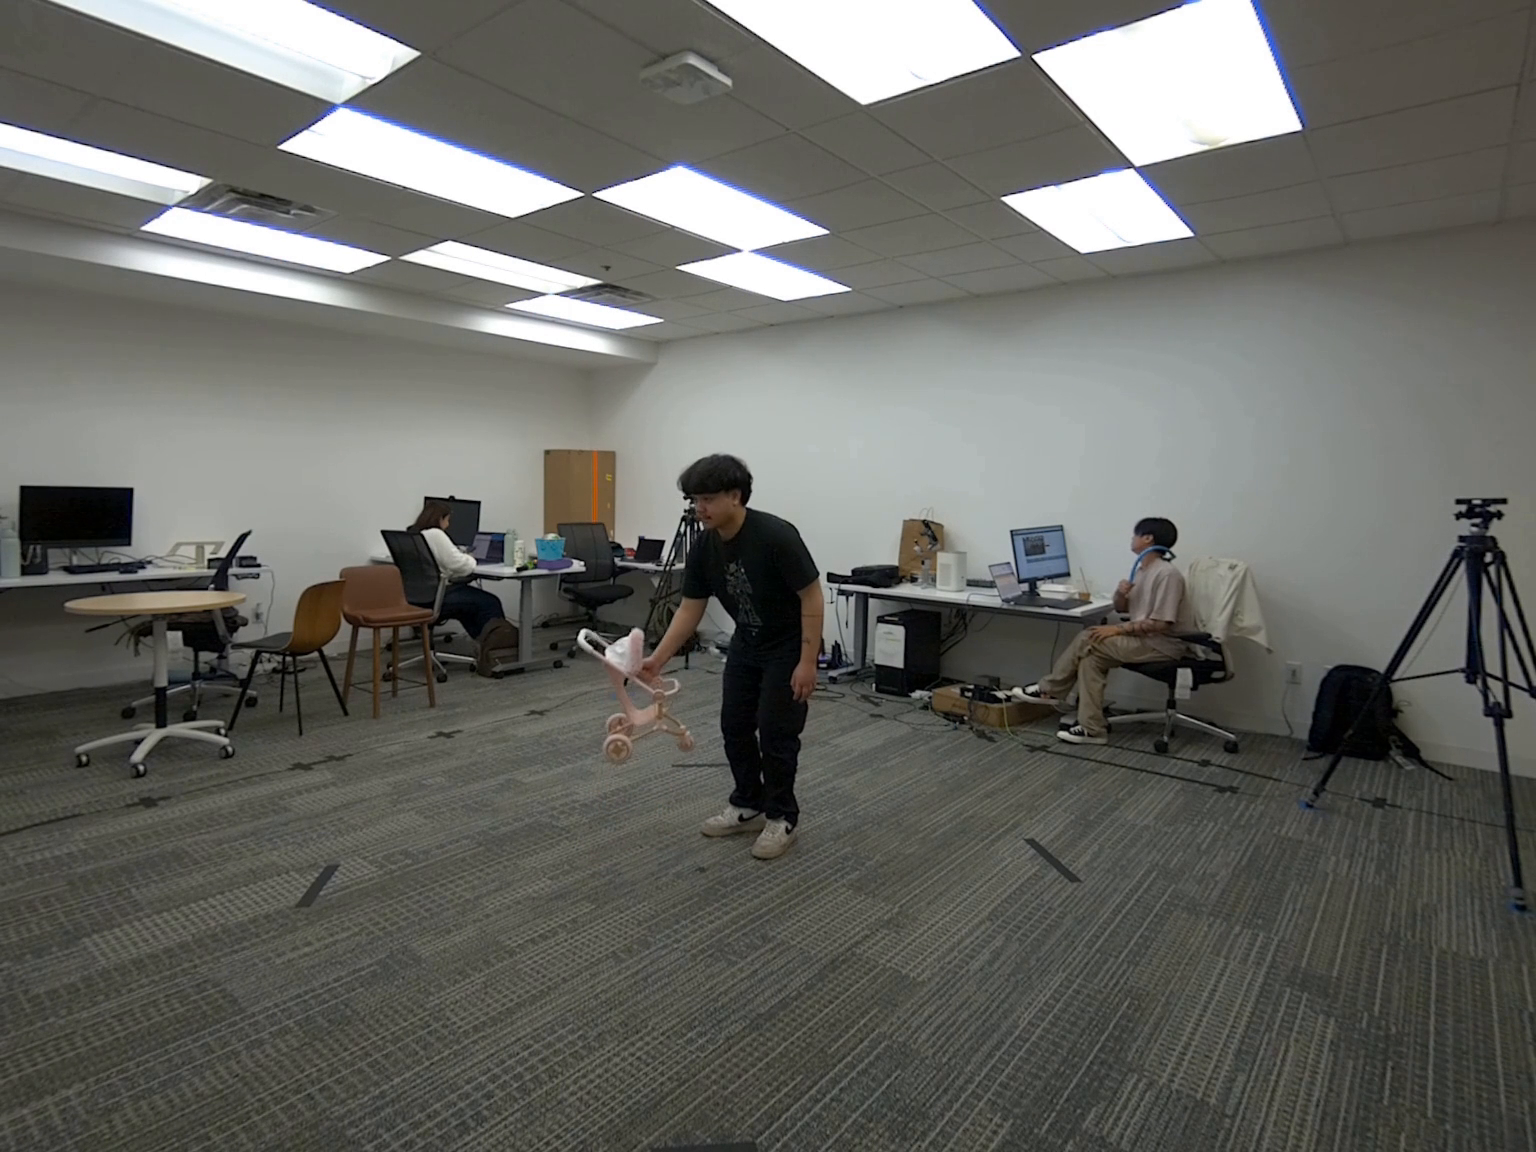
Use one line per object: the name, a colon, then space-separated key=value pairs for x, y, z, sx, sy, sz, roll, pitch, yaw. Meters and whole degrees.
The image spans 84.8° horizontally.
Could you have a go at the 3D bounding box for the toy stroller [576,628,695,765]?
toy stroller: x=-0.488 y=0.437 z=3.187 sx=0.341 sy=0.531 sz=0.283 roll=-12 pitch=6 yaw=-1
